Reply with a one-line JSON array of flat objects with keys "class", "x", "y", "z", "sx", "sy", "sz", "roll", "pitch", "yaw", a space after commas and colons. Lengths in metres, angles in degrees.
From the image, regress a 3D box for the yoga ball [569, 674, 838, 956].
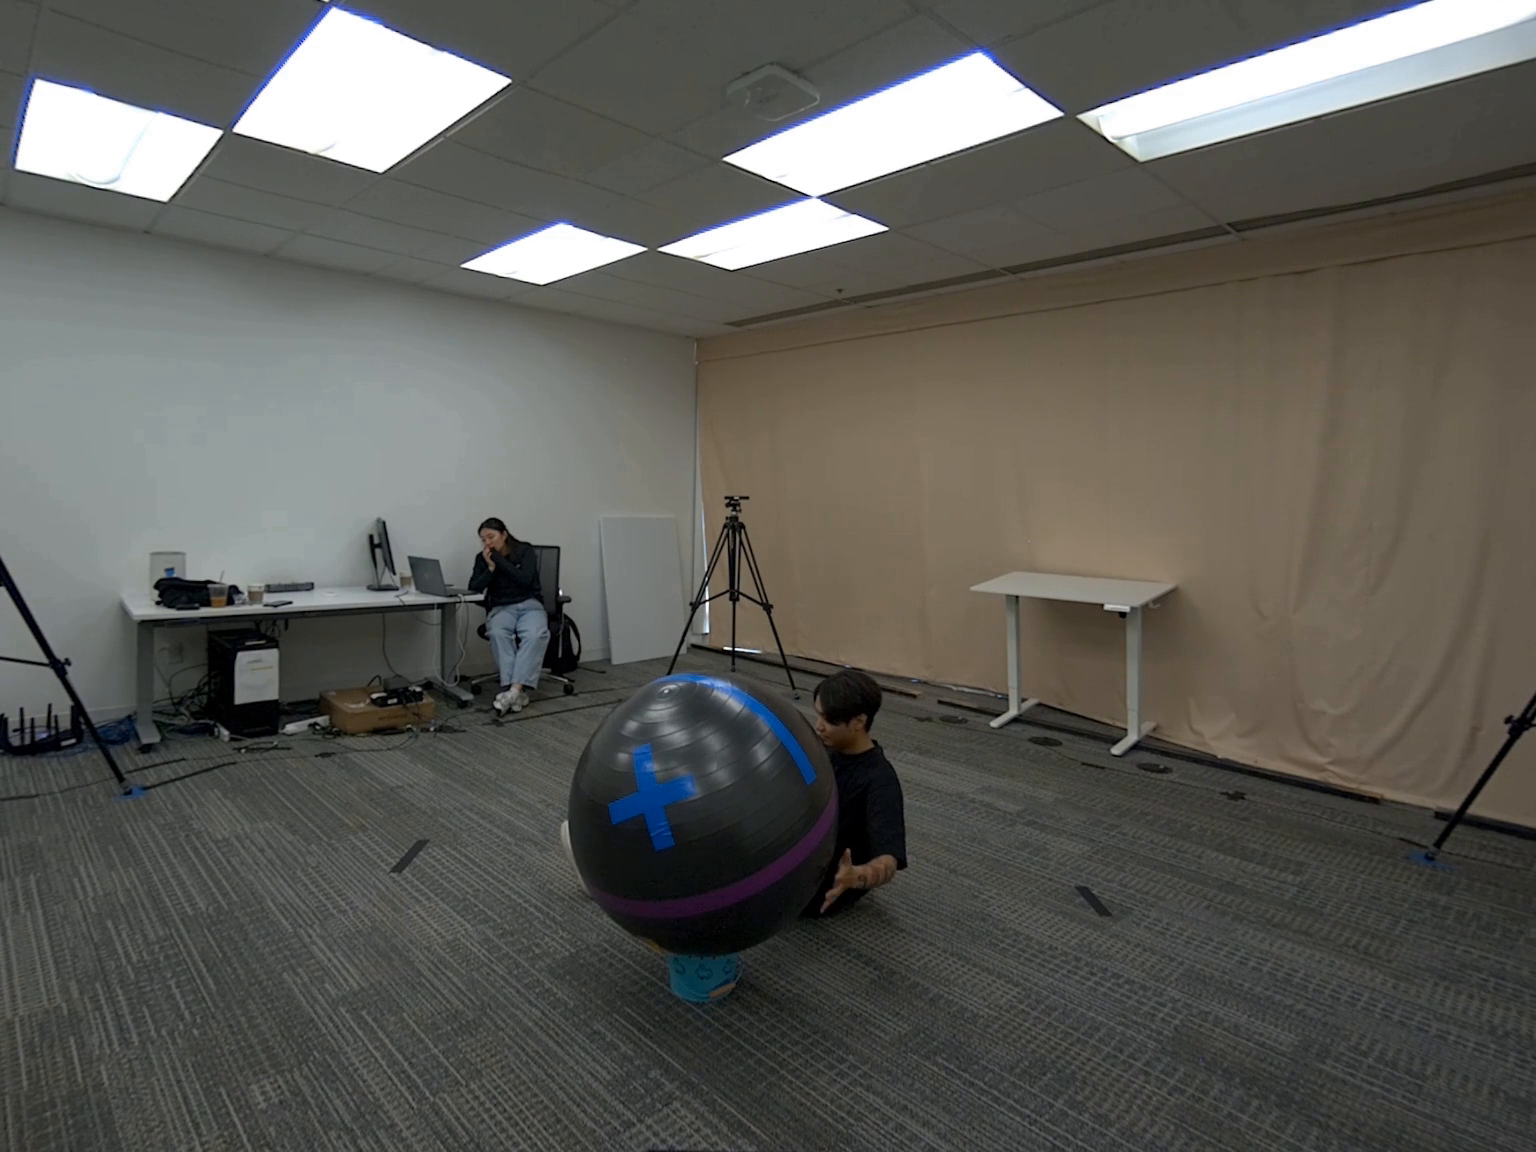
[{"class": "yoga ball", "x": -0.183, "y": 0.671, "z": 2.364, "sx": 0.757, "sy": 0.756, "sz": 0.761, "roll": 1, "pitch": 4, "yaw": -1}]
